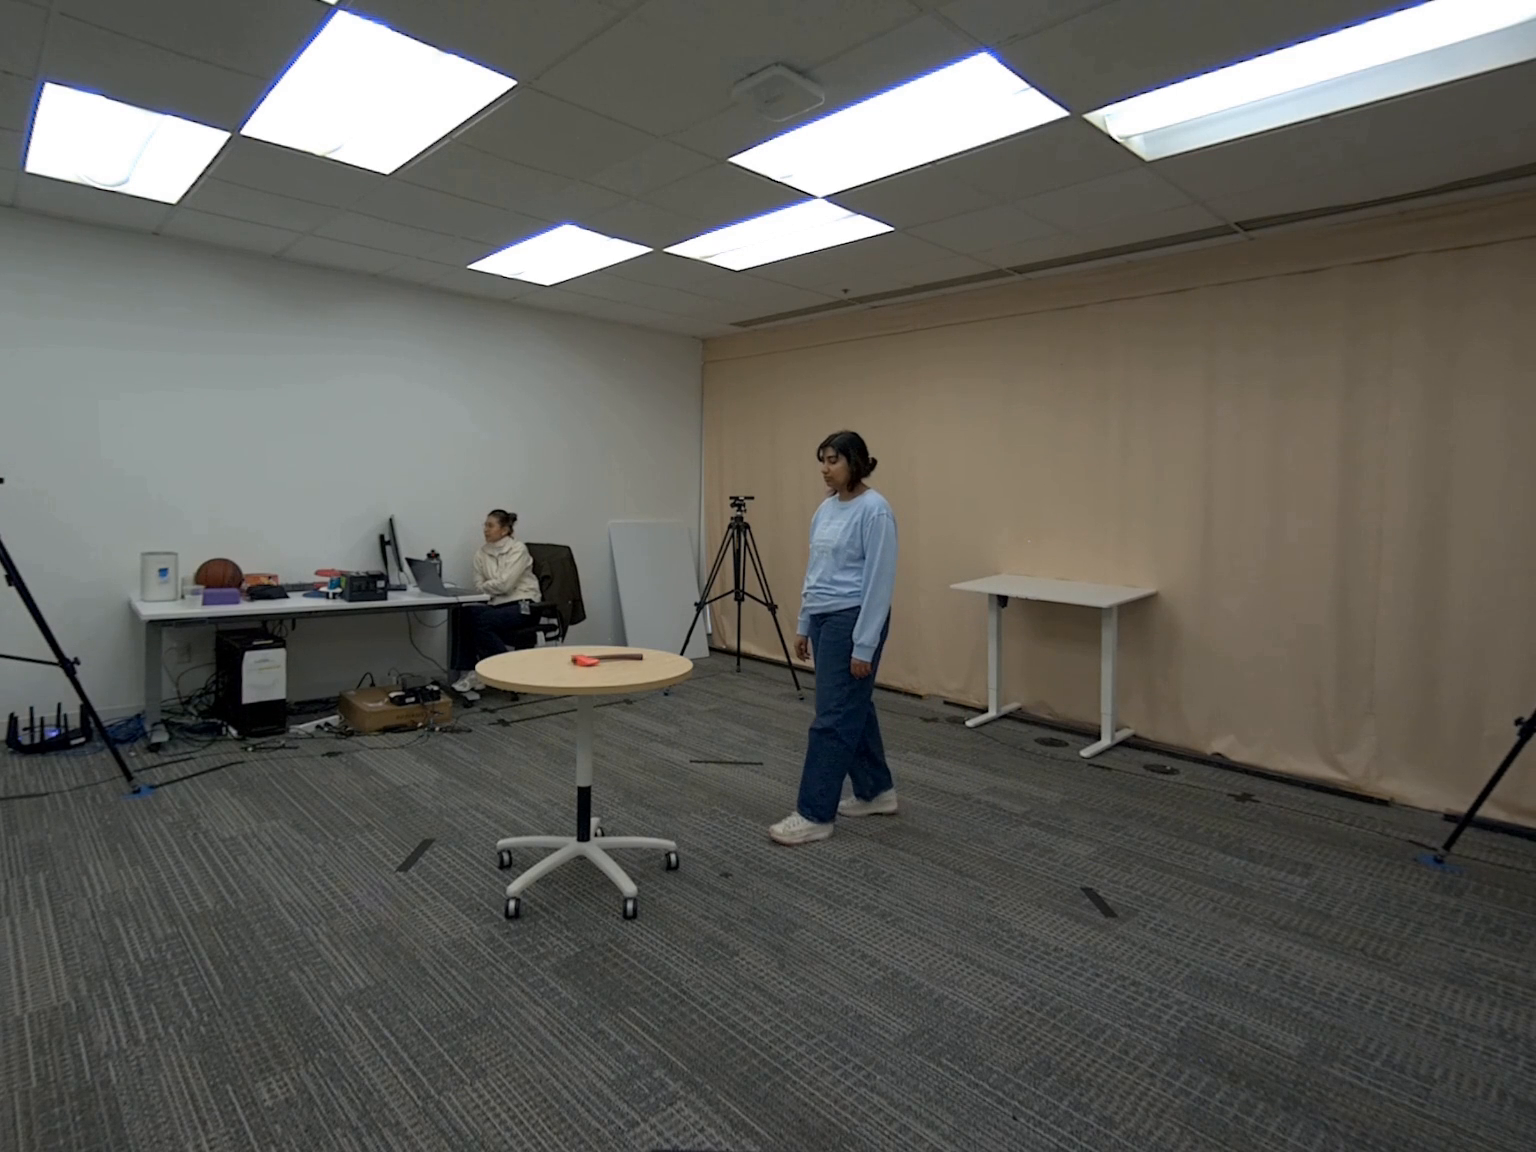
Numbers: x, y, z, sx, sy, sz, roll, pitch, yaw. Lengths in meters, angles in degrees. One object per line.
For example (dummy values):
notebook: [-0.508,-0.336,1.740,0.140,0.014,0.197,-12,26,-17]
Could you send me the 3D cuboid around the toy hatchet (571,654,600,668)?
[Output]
toy hatchet: [-0.584,0.304,3.038,0.266,0.029,0.133,0,5,-18]
